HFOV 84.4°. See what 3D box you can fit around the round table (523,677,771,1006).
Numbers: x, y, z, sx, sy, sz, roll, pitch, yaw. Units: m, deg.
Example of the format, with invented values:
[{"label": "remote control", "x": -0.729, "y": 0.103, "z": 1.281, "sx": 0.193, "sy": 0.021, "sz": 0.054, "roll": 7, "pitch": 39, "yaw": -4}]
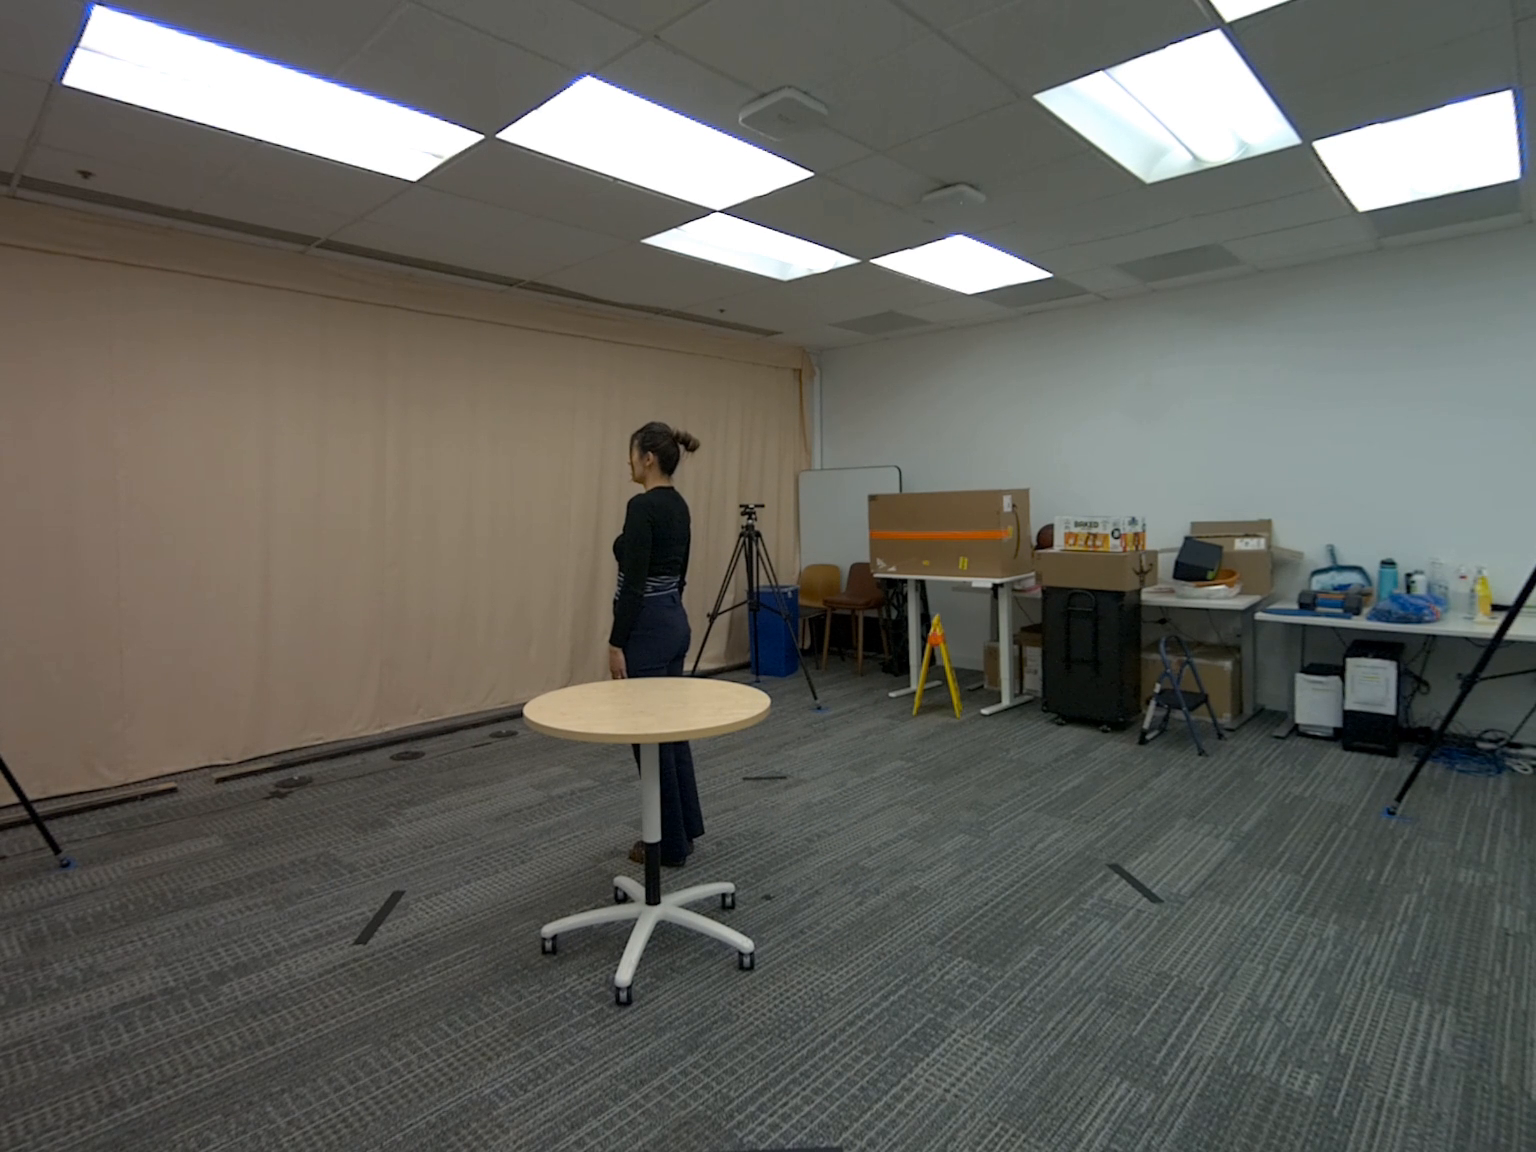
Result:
[{"label": "round table", "x": -0.366, "y": 0.787, "z": 2.654, "sx": 0.763, "sy": 0.792, "sz": 0.766, "roll": -1, "pitch": 4, "yaw": -2}]
